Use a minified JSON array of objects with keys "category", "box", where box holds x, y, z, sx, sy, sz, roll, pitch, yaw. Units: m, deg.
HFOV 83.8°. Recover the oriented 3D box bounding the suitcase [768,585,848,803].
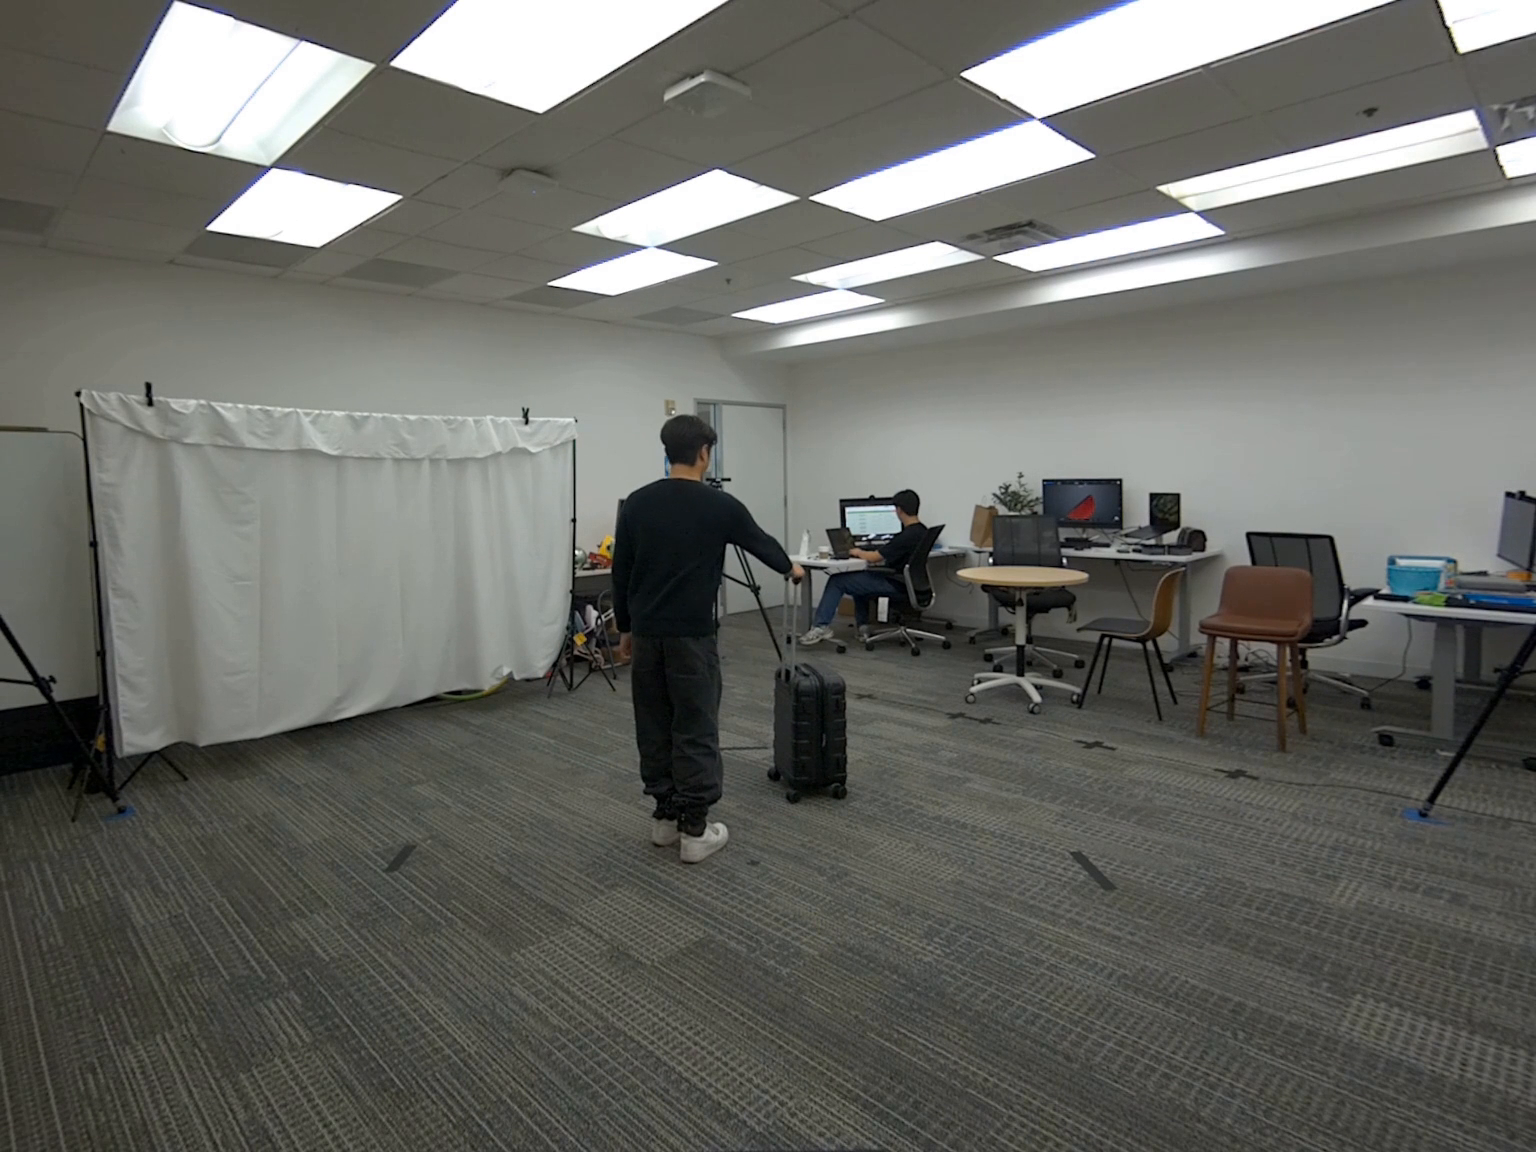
[{"category":"suitcase","box":[0.191,0.481,3.839,0.254,0.977,0.390,1,2,-14]}]
